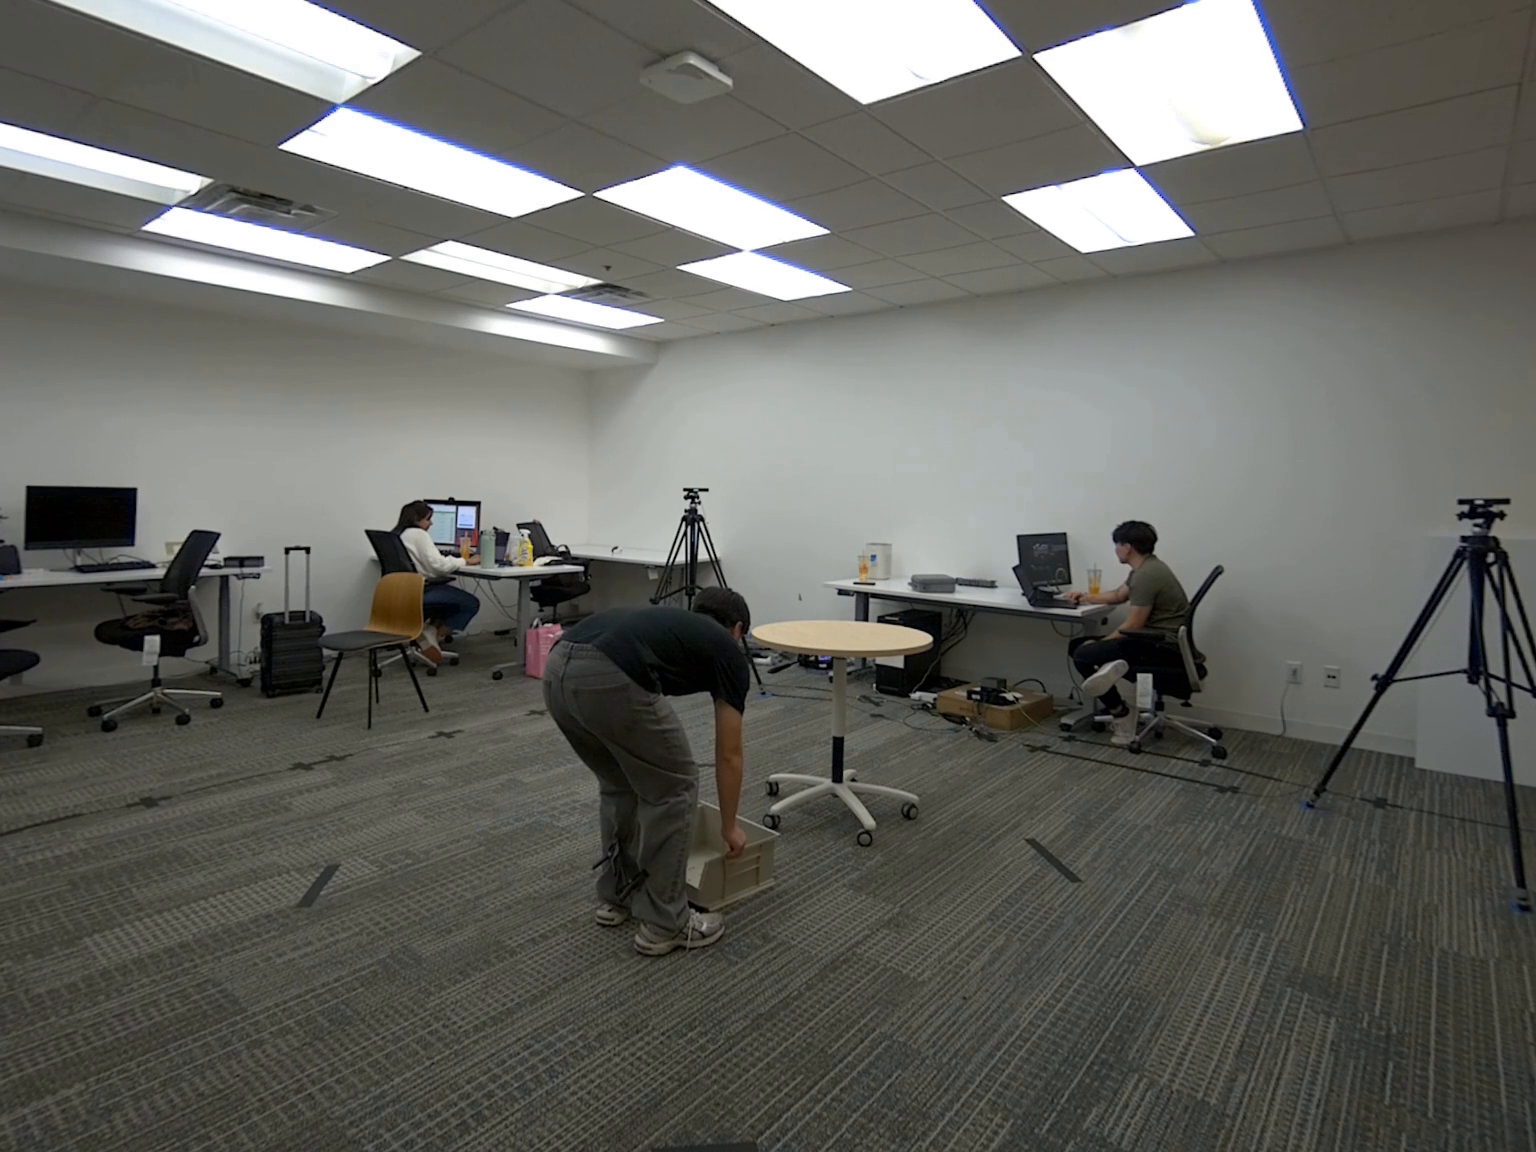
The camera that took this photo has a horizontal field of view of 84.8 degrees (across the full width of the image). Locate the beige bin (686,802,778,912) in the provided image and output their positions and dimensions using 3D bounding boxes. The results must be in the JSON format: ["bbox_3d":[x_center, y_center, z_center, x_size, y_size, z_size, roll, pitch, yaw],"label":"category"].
[{"bbox_3d":[-0.245,0.983,3.027,0.437,0.188,0.365,5,5,45],"label":"beige bin"}]
